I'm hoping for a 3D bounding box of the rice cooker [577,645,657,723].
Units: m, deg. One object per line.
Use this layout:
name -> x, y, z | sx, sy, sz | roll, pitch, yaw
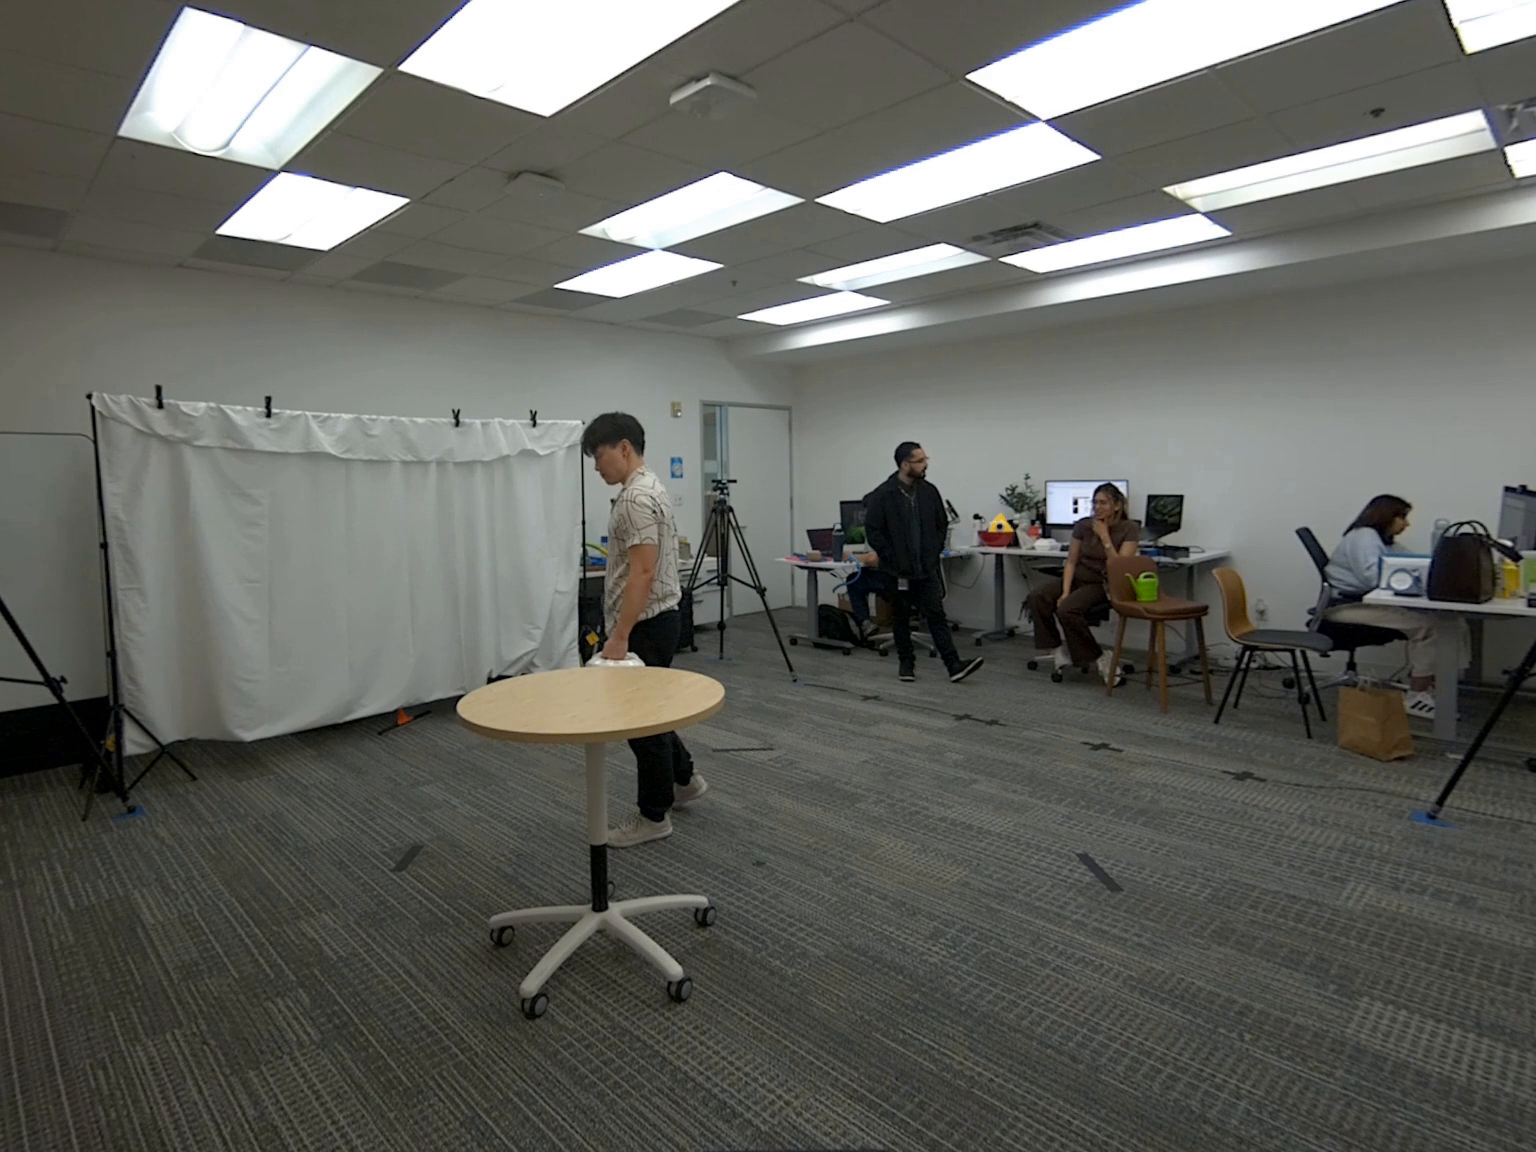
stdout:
rice cooker -> -0.544, 0.382, 3.093 | 0.223, 0.232, 0.215 | -1, 2, 10
